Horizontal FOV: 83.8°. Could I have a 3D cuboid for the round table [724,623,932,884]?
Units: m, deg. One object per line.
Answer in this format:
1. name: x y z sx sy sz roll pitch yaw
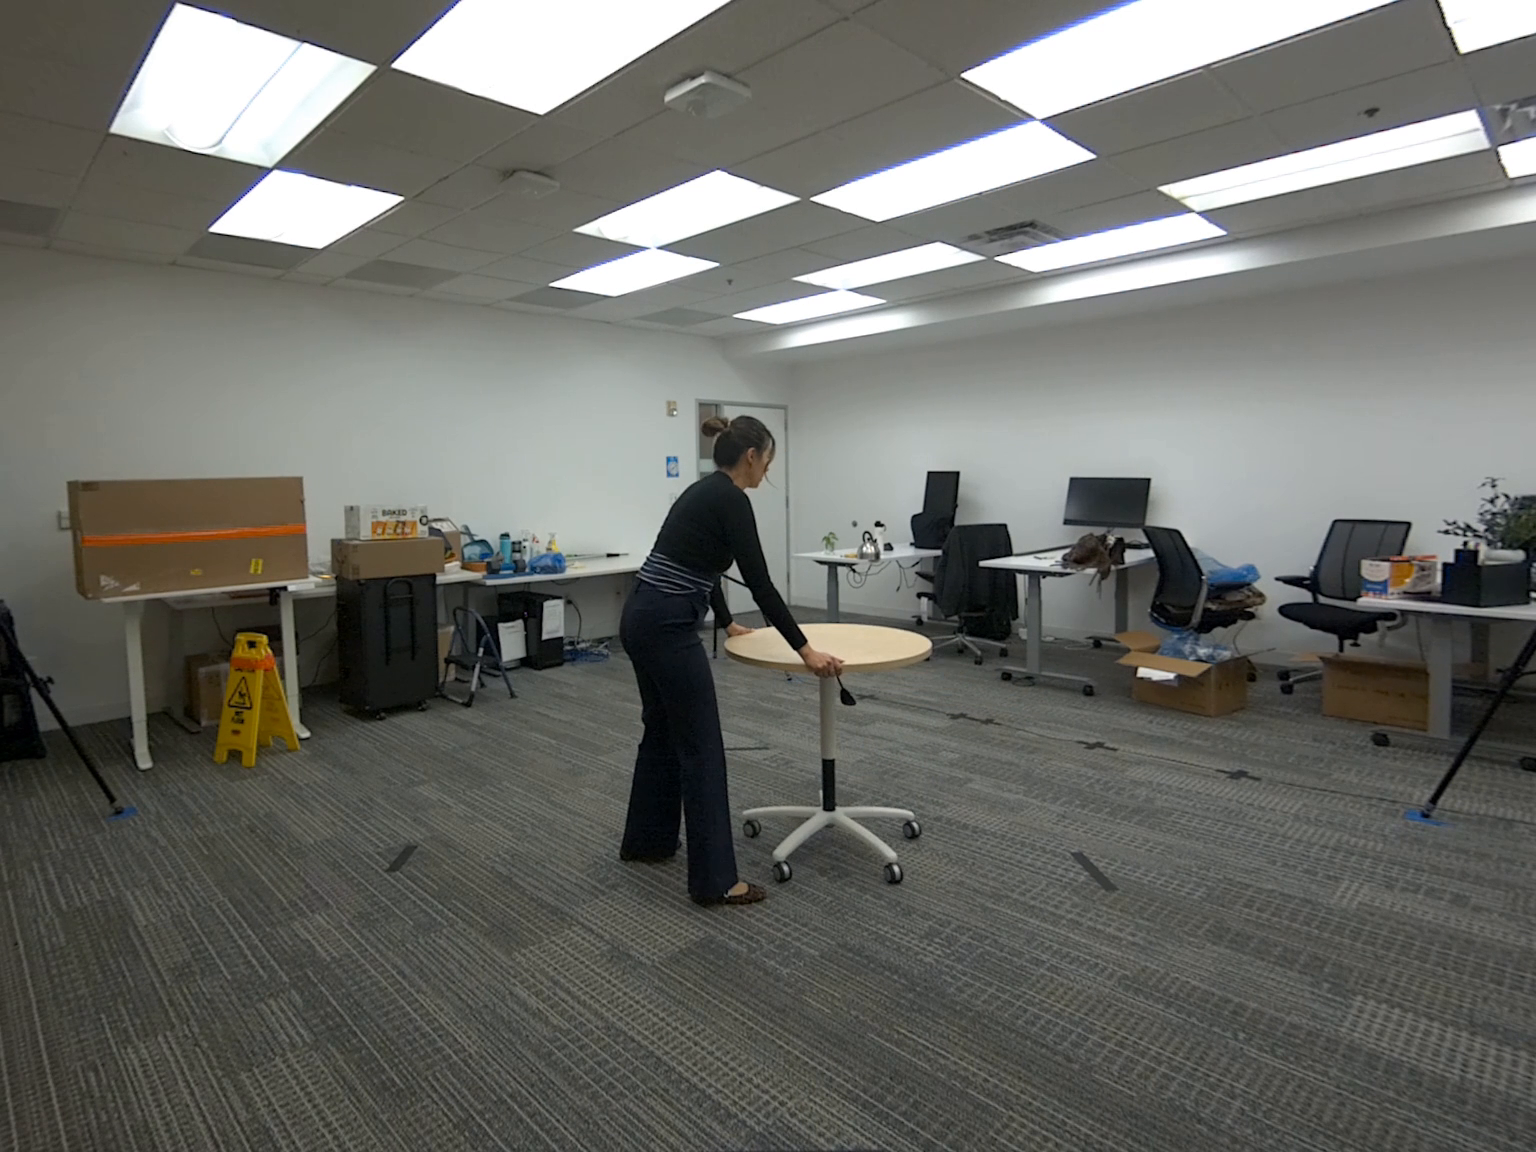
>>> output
1. round table: 0.224 0.636 3.217 0.763 0.791 0.768 -1 5 -2
